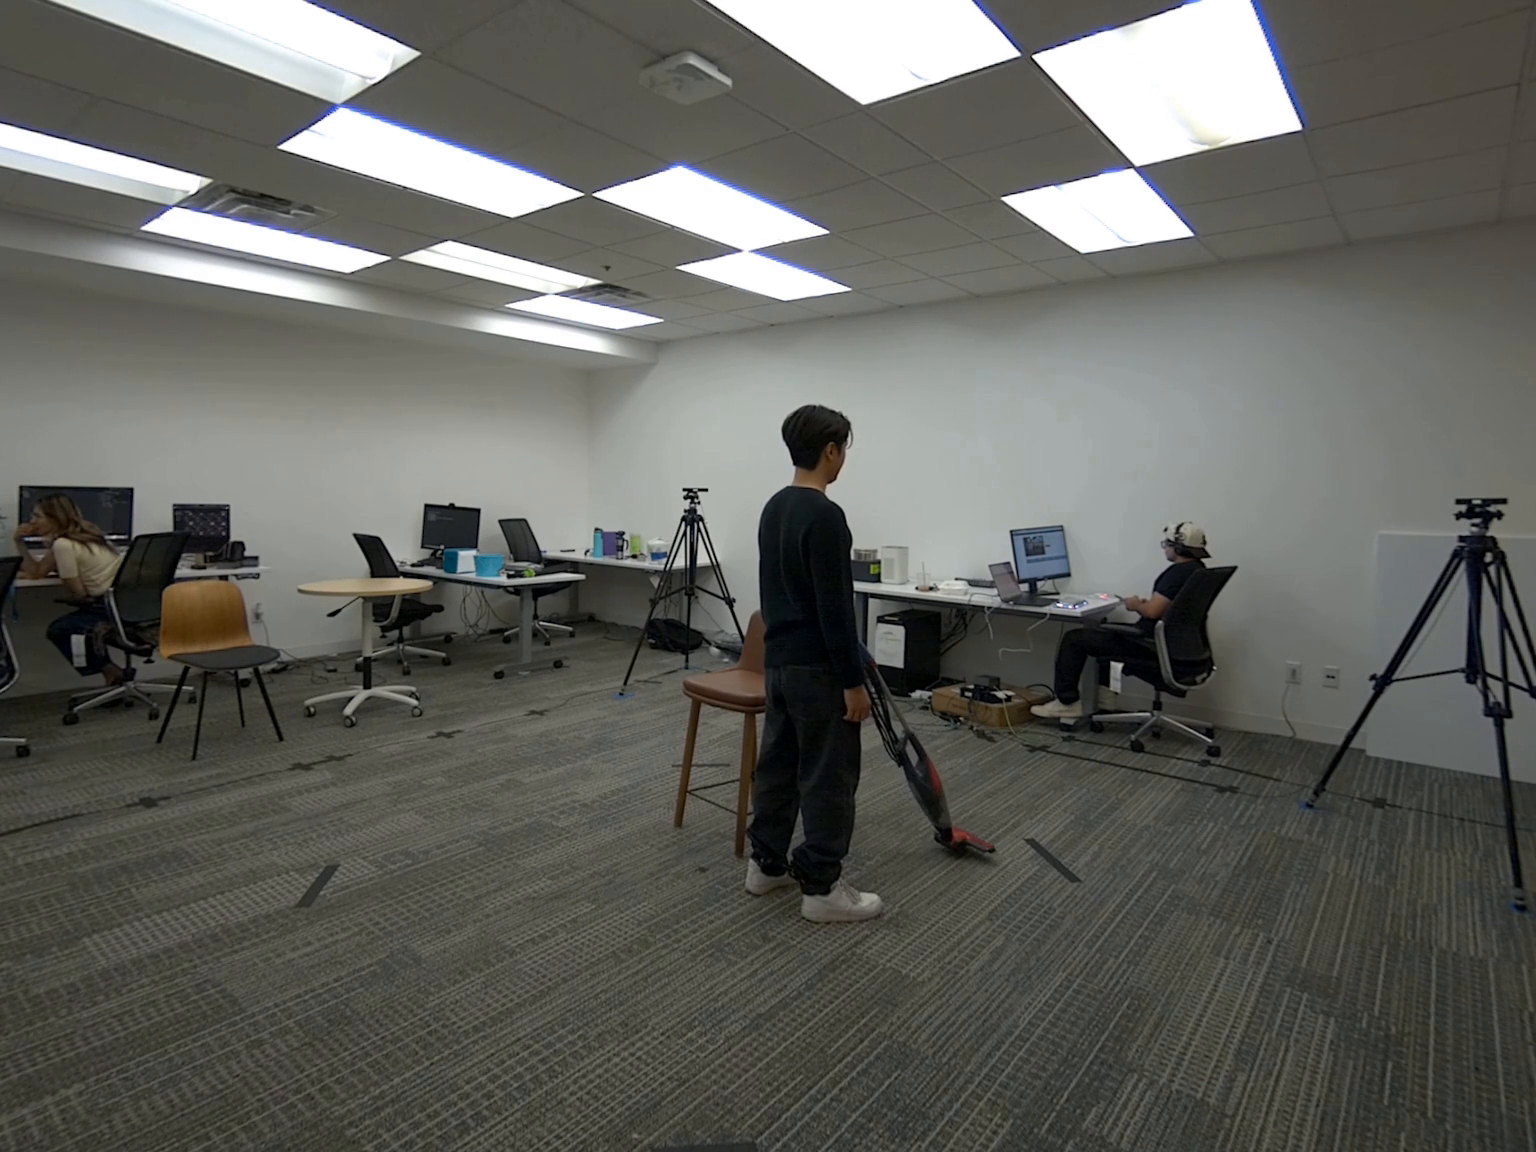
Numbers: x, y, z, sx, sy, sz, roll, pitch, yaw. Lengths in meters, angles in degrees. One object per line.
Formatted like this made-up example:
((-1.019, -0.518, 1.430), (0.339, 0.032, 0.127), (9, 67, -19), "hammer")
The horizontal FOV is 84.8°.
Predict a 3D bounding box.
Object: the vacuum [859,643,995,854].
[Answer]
((0.499, 0.622, 3.191), (0.143, 1.028, 0.259), (-38, 16, -24), "vacuum")
